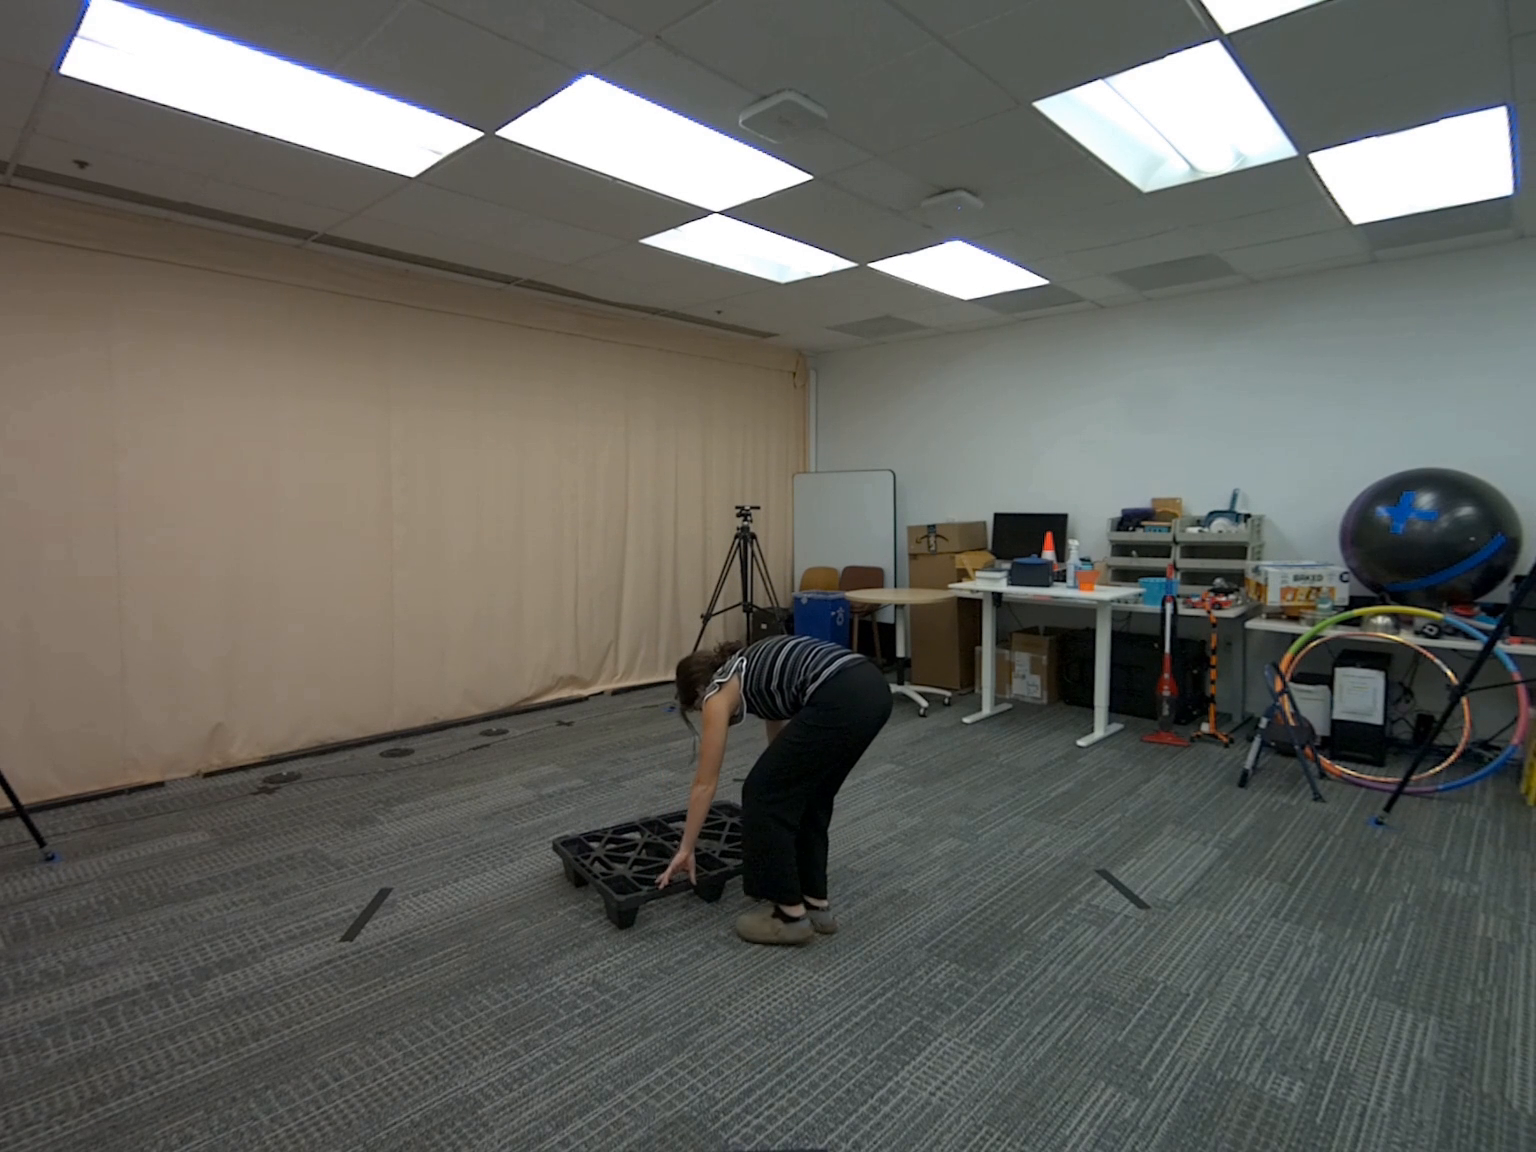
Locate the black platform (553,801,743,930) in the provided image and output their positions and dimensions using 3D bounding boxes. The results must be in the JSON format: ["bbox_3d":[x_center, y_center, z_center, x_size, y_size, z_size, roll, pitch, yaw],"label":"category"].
[{"bbox_3d":[-0.329,1.064,3.158,0.783,0.143,0.624,-3,5,-33],"label":"black platform"}]
